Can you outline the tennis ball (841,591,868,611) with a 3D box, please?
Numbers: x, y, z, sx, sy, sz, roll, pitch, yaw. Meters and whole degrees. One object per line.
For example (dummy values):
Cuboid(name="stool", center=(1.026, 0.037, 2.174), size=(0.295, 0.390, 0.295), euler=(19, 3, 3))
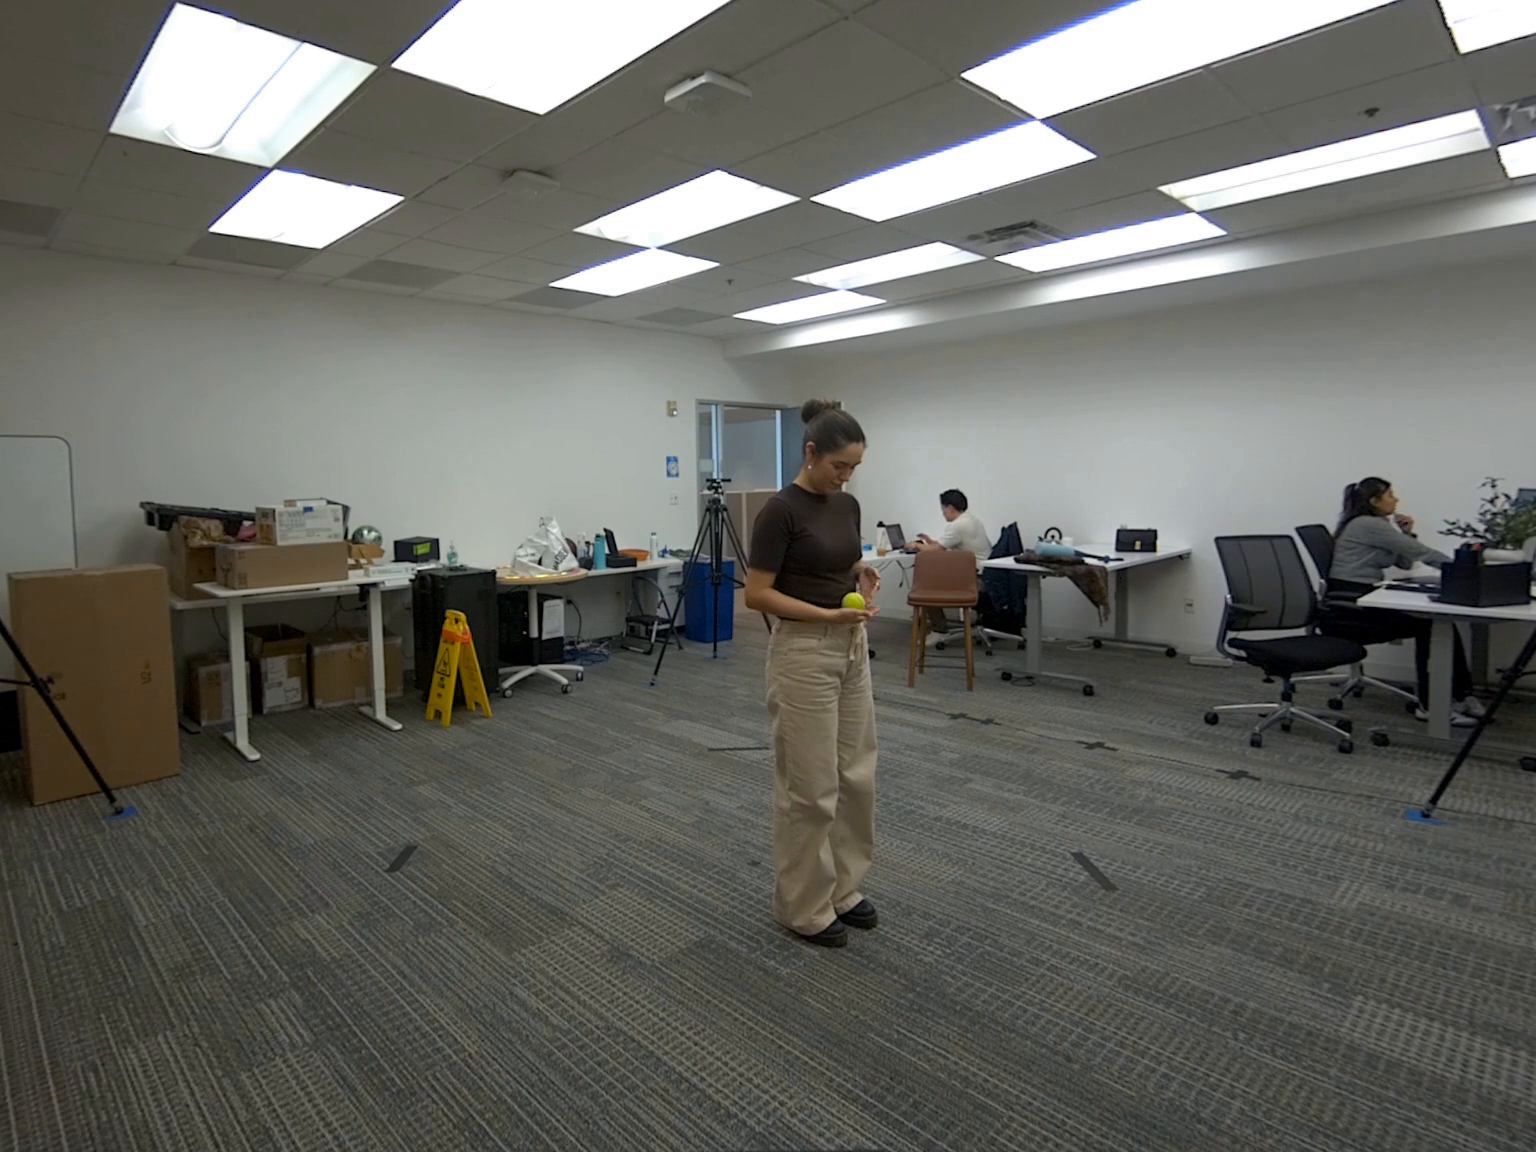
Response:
Cuboid(name="tennis ball", center=(0.245, 0.080, 2.519), size=(0.066, 0.066, 0.067), euler=(-1, 5, -2))
